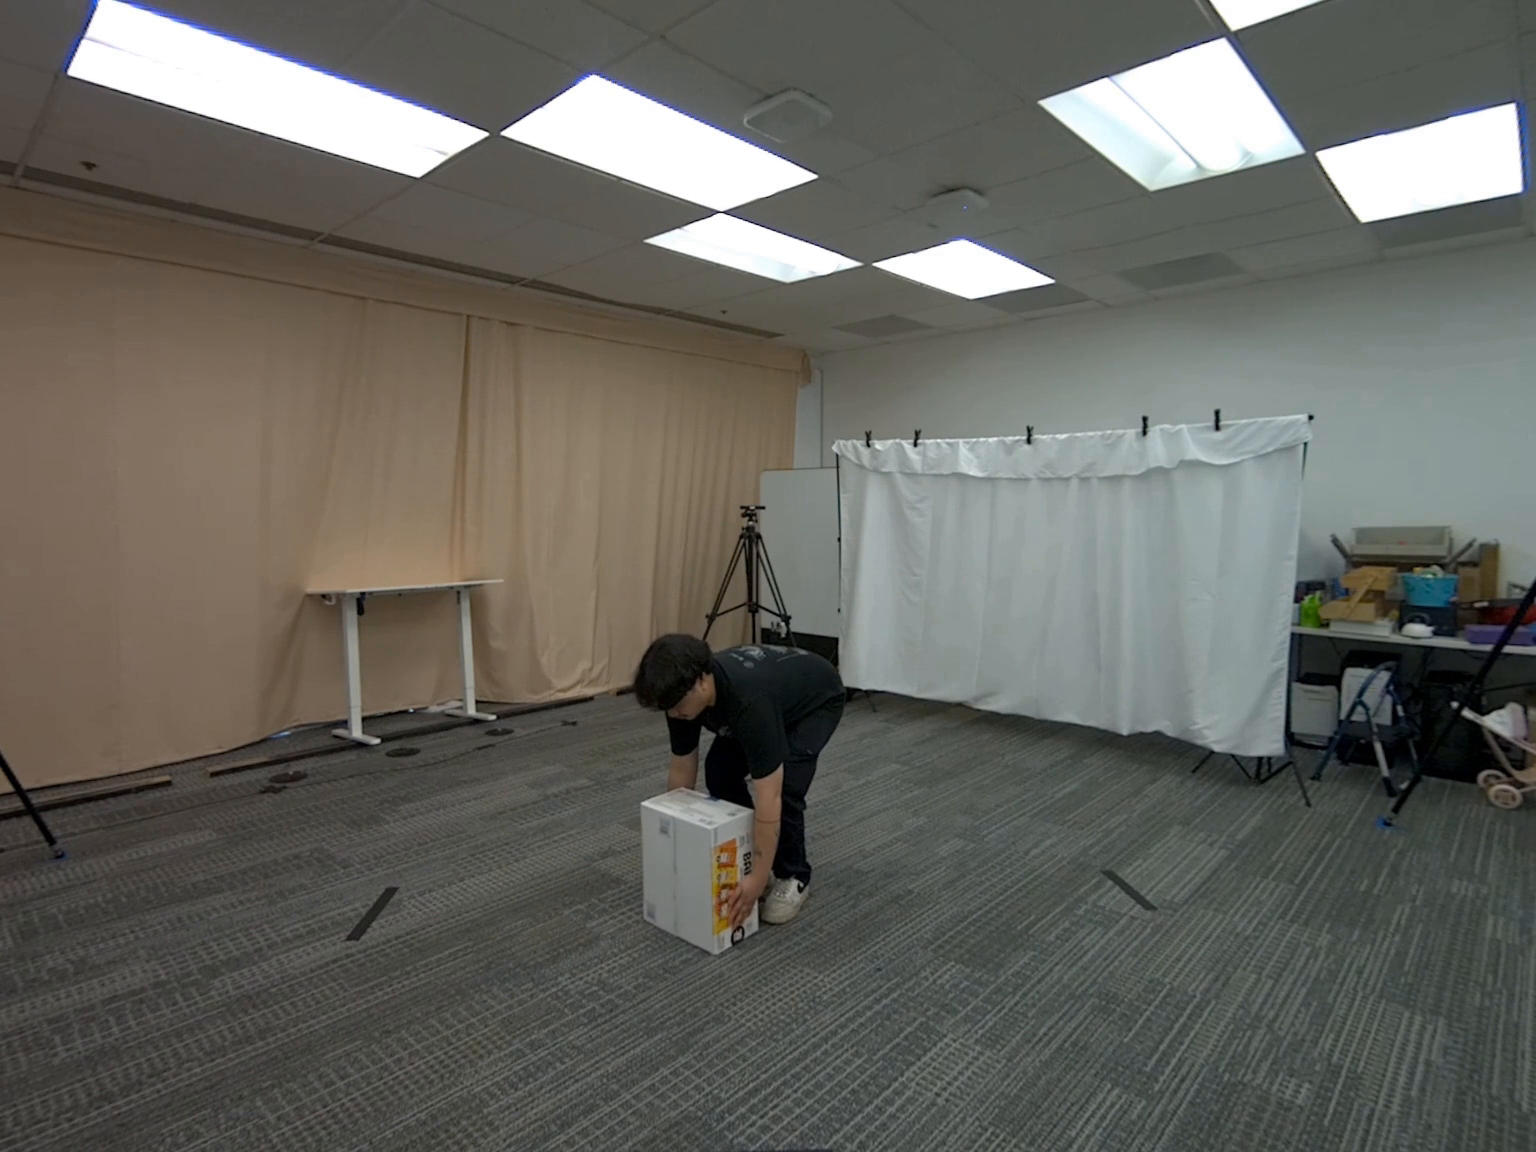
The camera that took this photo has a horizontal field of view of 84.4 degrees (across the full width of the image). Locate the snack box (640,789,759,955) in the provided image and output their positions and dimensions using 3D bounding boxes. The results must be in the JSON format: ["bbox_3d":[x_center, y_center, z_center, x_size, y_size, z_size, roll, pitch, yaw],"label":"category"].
[{"bbox_3d":[-0.227,0.954,2.782,0.351,0.404,0.199,3,6,42],"label":"snack box"}]
